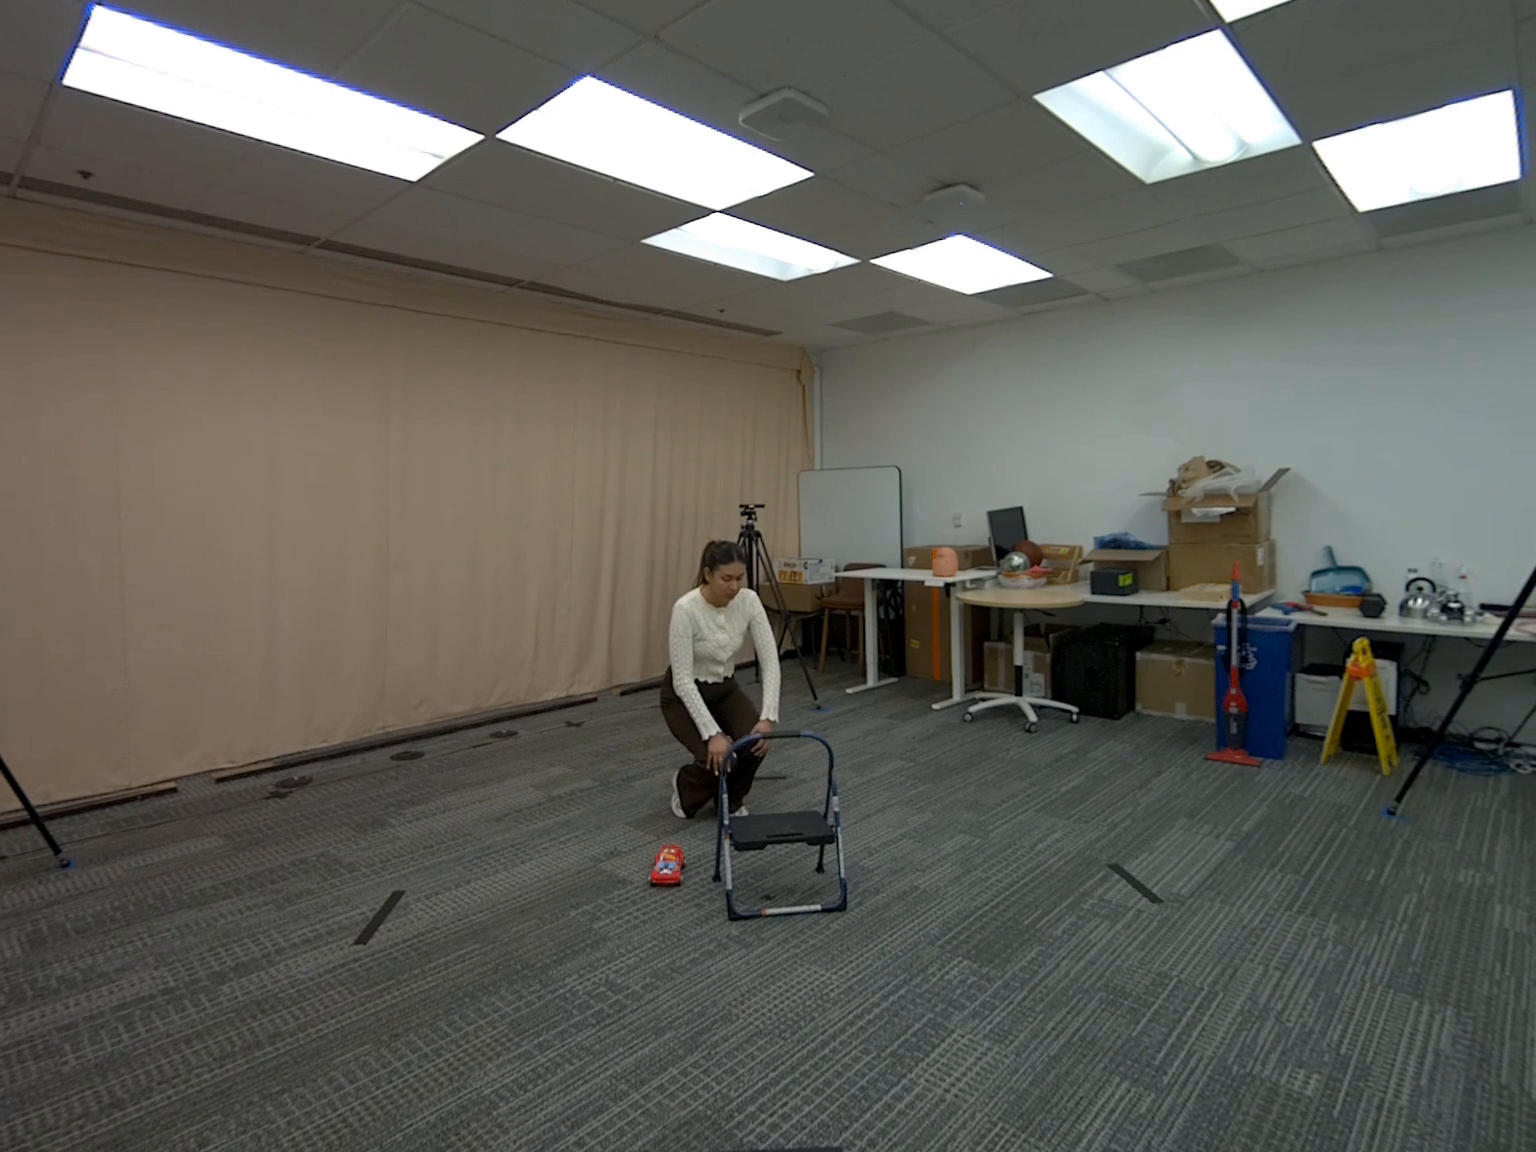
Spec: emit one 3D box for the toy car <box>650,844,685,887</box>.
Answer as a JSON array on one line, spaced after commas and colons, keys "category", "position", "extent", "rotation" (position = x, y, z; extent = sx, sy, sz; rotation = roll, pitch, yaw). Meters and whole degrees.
[{"category": "toy car", "position": [-0.384, 1.097, 3.195], "extent": [0.130, 0.082, 0.257], "rotation": [-2, 16, -1]}]
